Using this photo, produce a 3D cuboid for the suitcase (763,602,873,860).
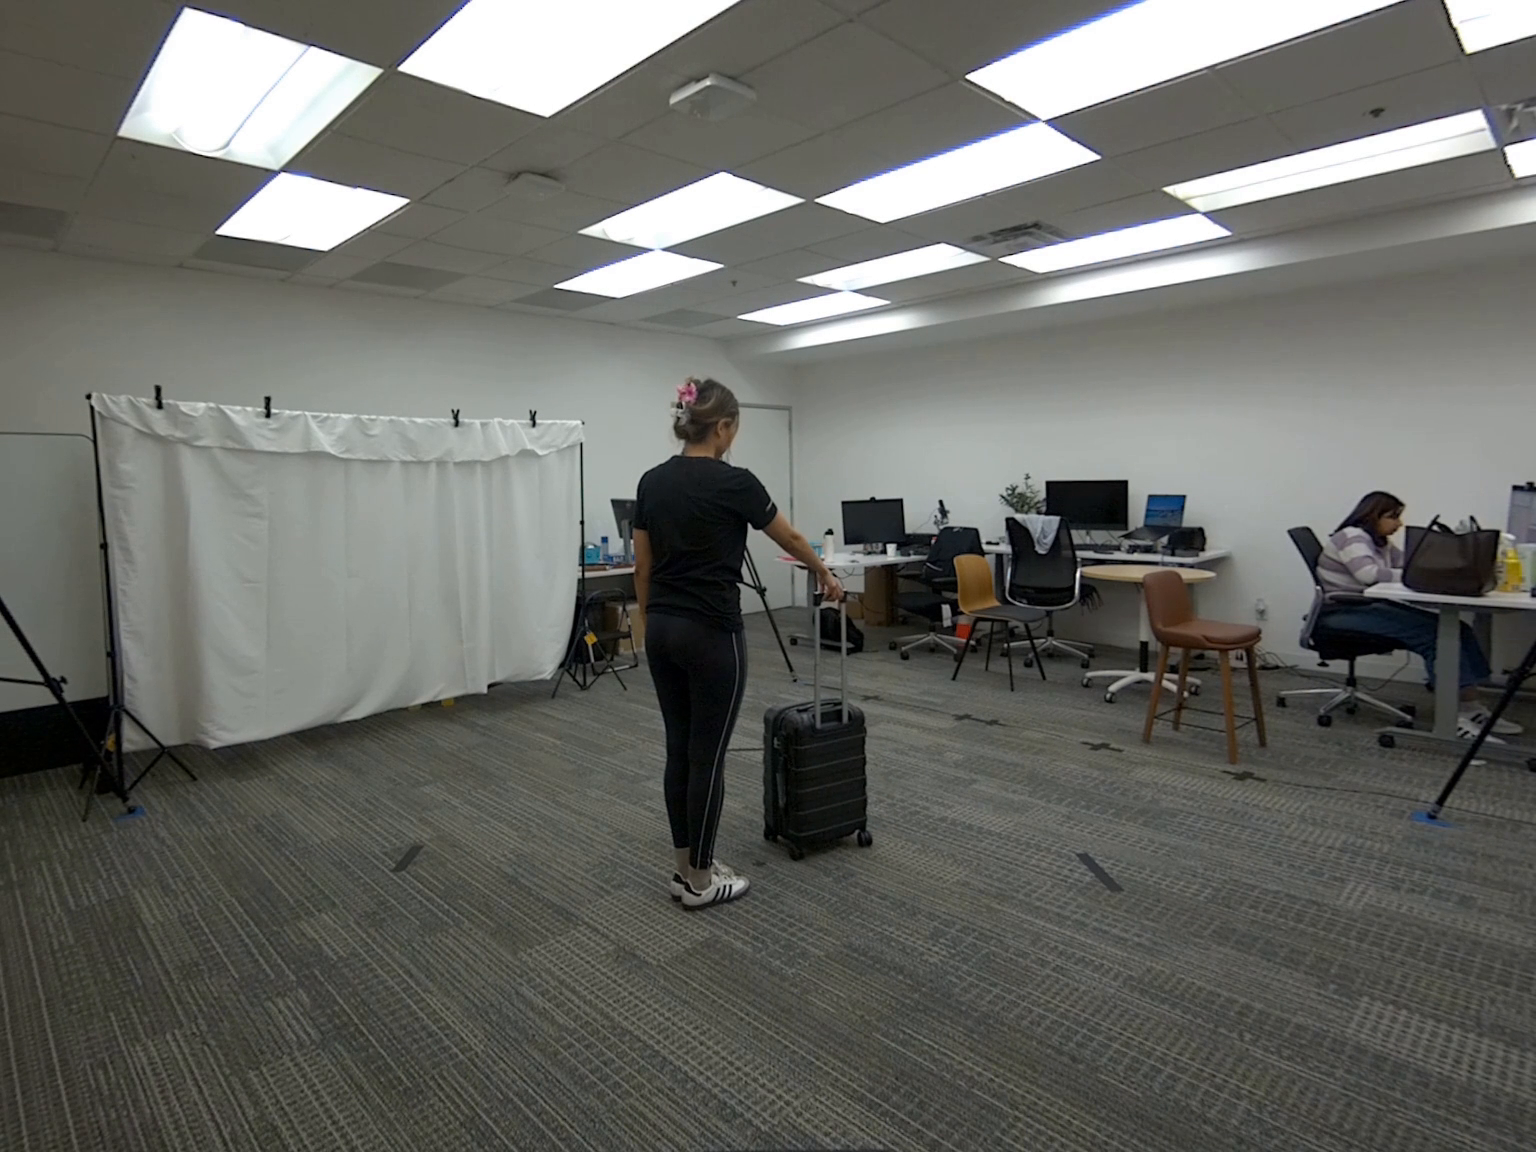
[{"bbox_3d":[0.175,0.553,3.262,0.375,0.976,0.264,-3,3,-29],"label":"suitcase"}]
